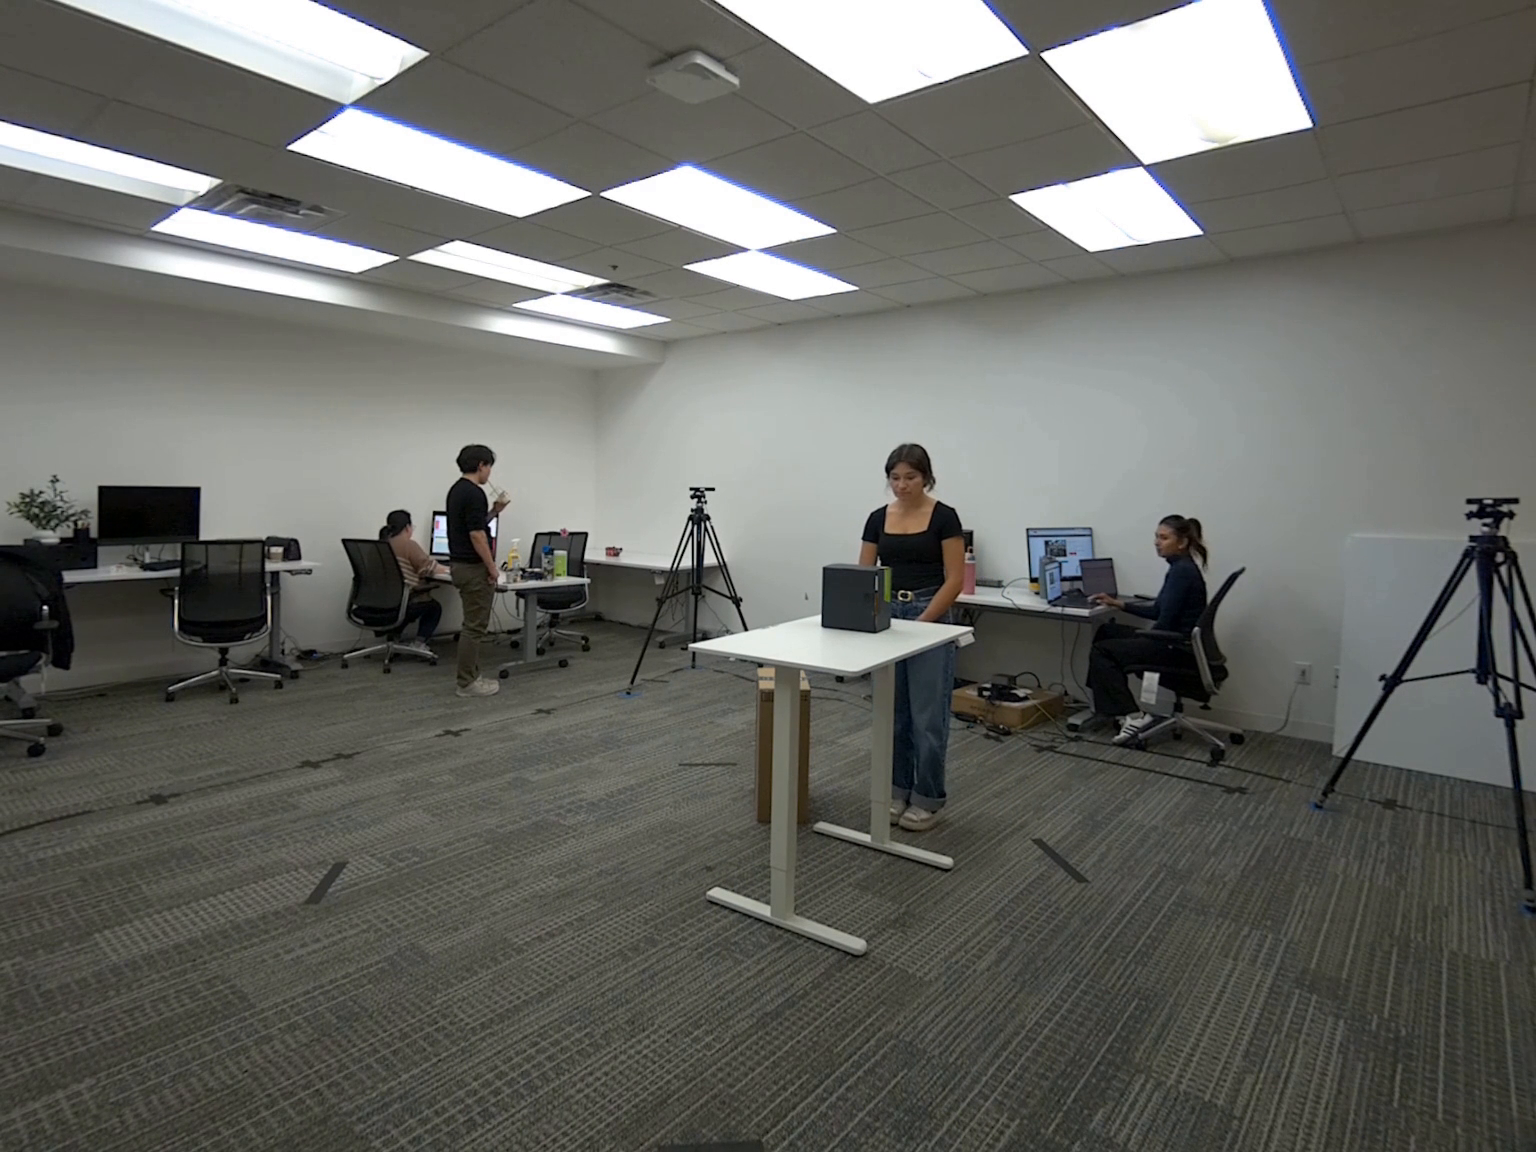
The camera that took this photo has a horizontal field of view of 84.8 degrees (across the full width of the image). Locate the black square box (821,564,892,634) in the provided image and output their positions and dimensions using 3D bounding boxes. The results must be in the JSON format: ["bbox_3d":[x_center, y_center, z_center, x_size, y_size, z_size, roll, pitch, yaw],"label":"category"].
[{"bbox_3d":[0.322,0.078,3.135,0.223,0.227,0.152,4,4,30],"label":"black square box"}]
